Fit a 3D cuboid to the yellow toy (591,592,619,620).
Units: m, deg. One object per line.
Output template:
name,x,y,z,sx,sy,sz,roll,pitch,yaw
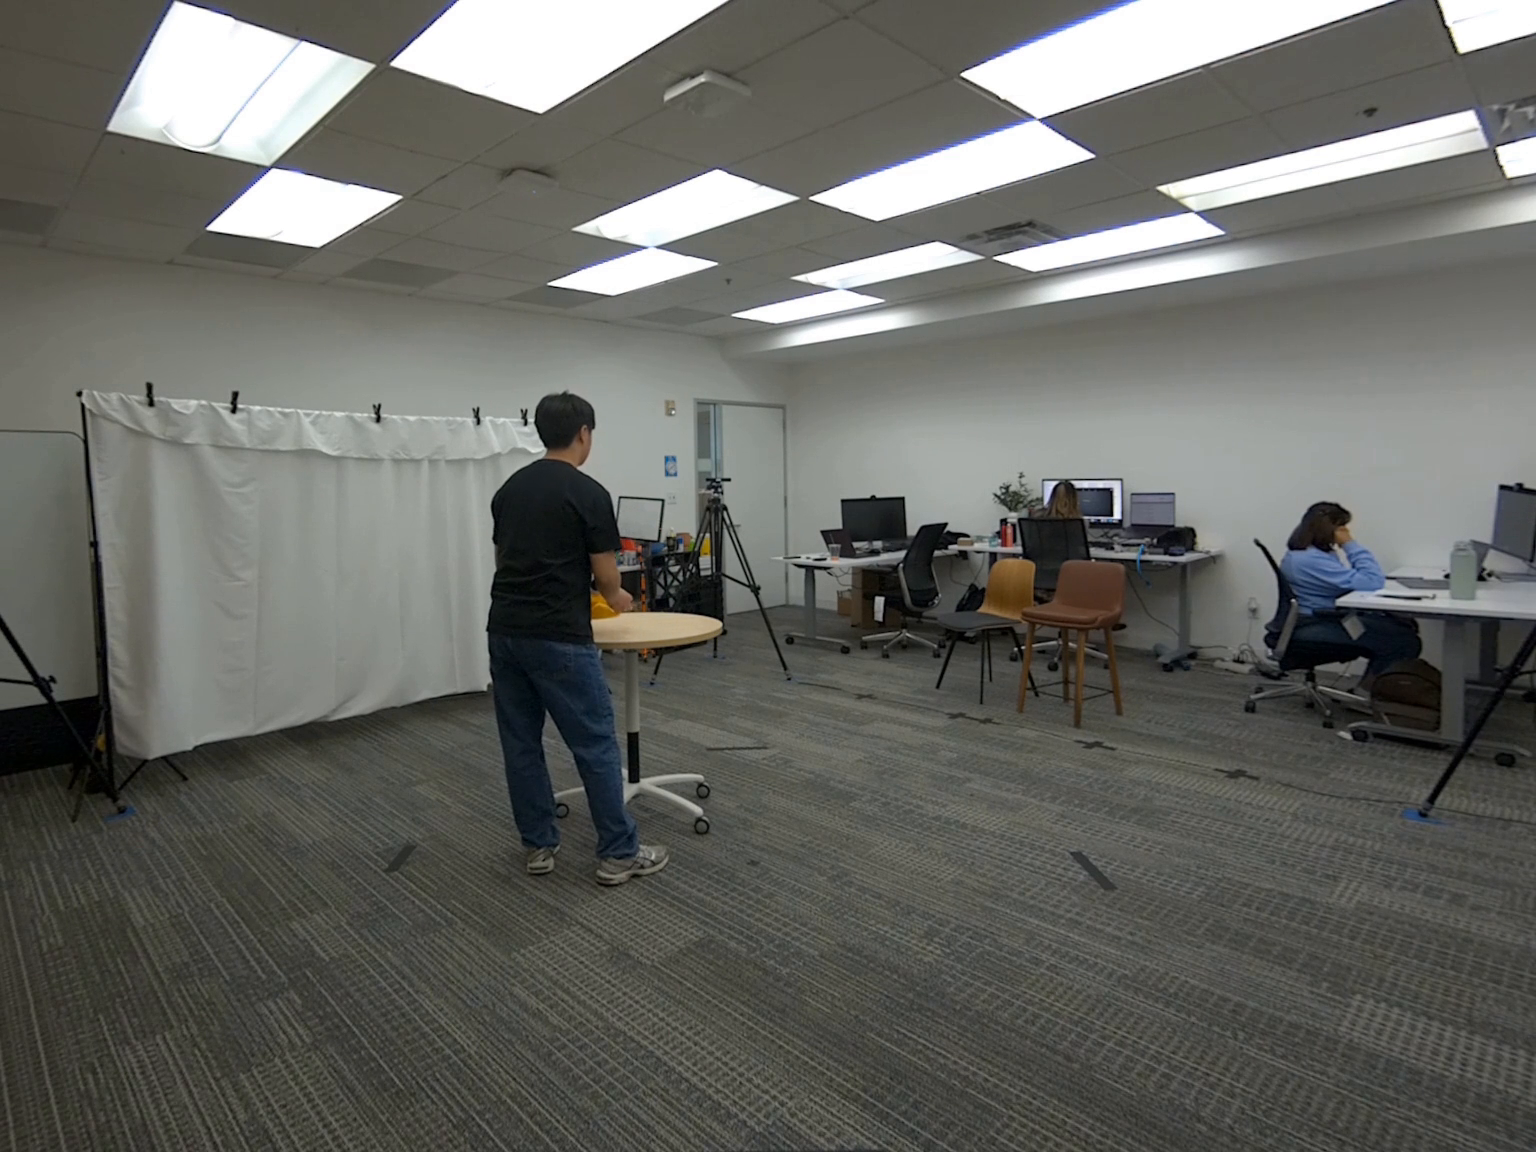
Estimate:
yellow toy,-0.658,0.036,3.388,0.196,0.229,0.203,-4,8,18
